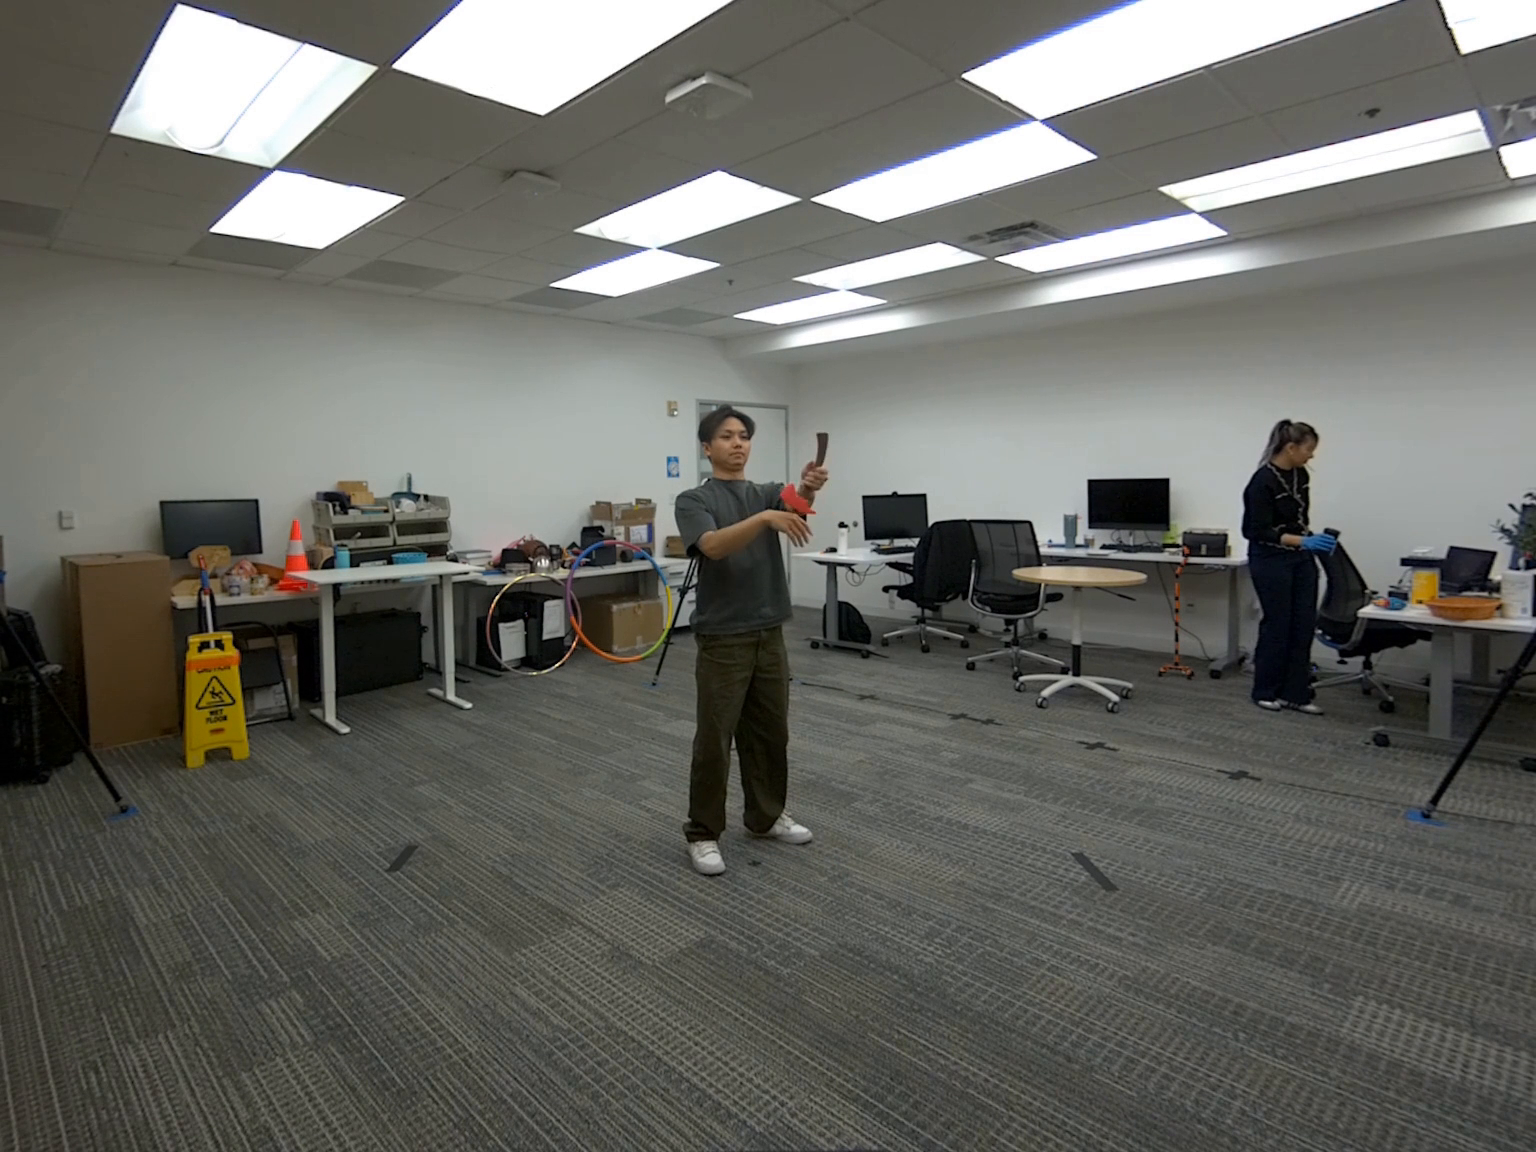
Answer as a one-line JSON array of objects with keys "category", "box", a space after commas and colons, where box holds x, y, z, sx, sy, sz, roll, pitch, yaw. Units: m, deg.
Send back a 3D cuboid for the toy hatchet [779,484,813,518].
[{"category": "toy hatchet", "box": [0.114, -0.334, 2.736, 0.129, 0.268, 0.030, 8, 7, -11]}]
